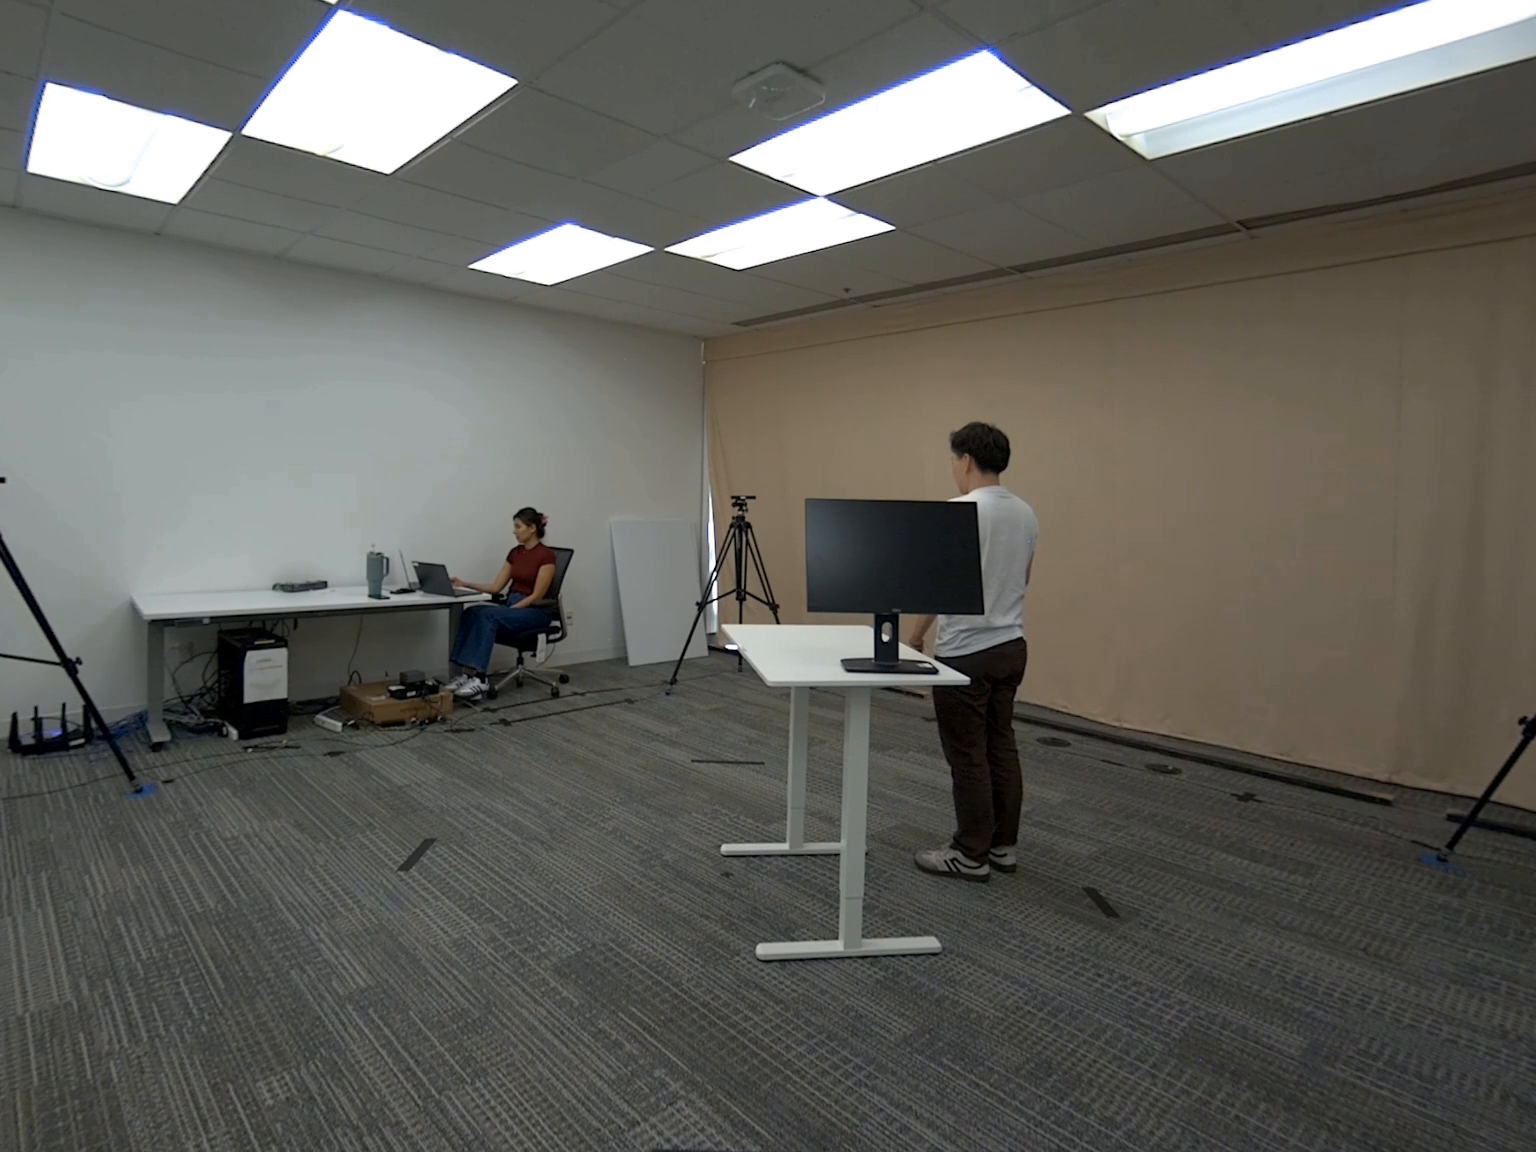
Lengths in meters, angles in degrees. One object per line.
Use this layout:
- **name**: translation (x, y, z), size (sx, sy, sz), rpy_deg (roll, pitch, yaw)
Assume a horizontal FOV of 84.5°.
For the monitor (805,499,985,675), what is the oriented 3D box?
- **monitor**: translation (0.372, 0.030, 2.569), size (0.537, 0.522, 0.188), rpy_deg (1, 0, -4)
